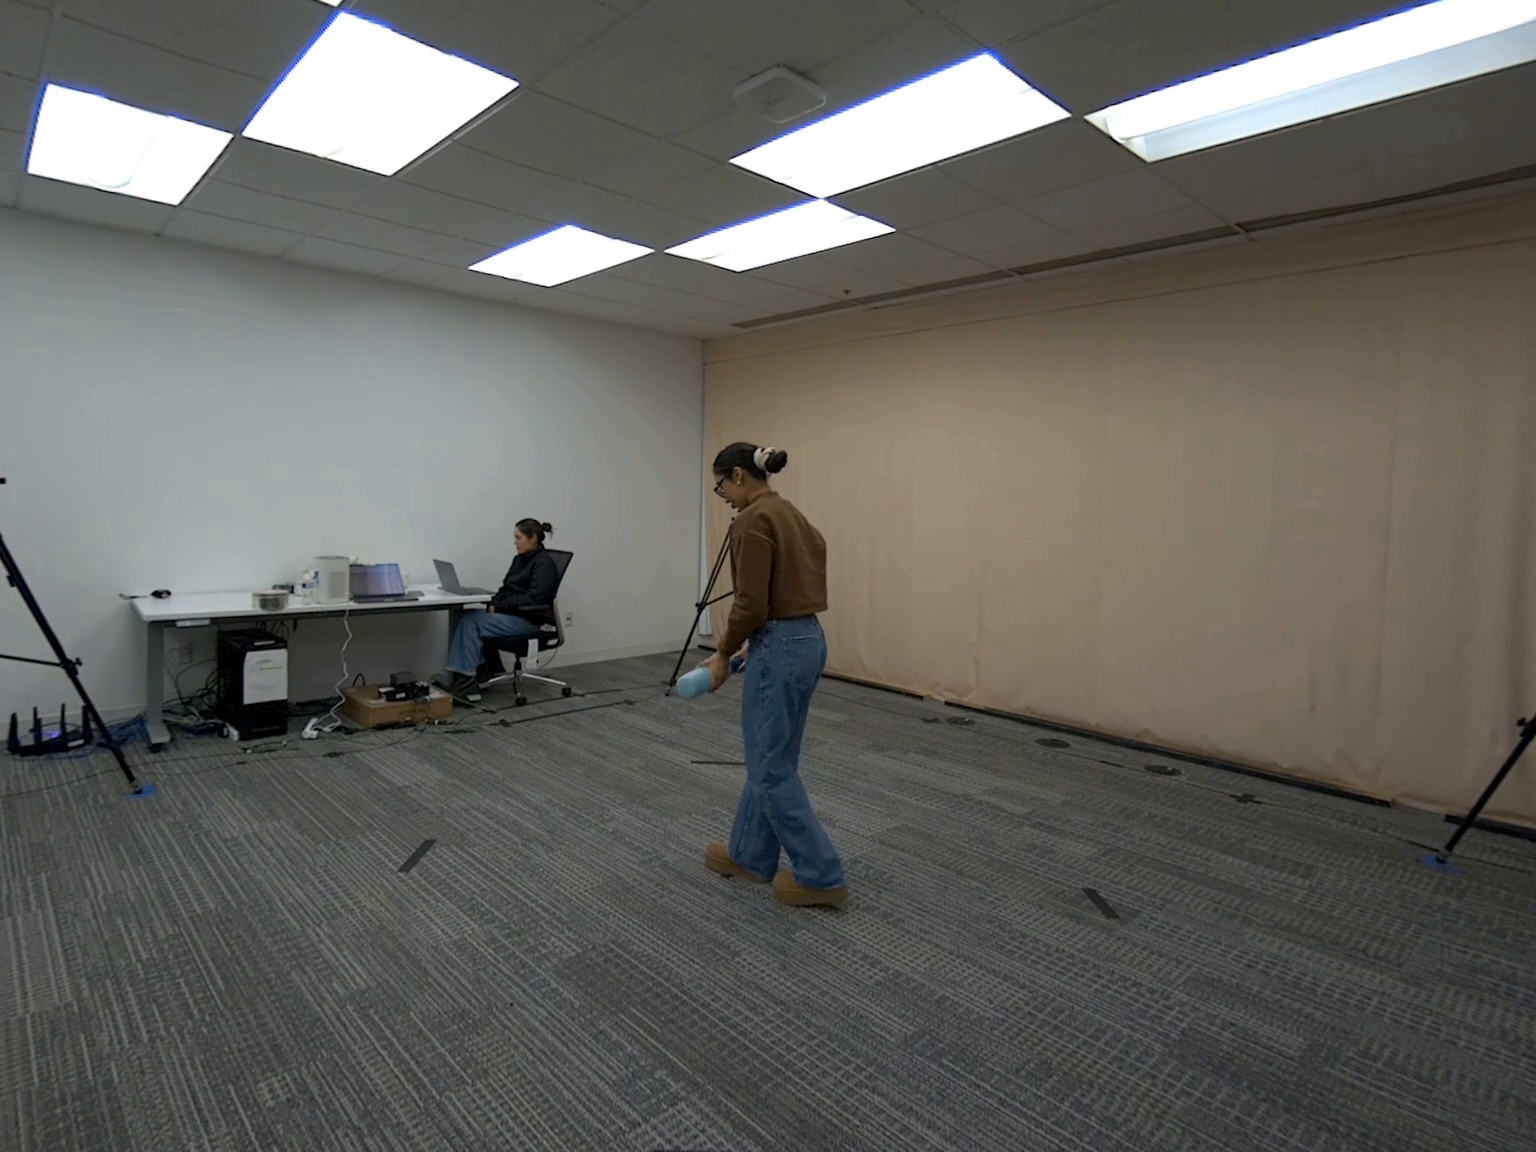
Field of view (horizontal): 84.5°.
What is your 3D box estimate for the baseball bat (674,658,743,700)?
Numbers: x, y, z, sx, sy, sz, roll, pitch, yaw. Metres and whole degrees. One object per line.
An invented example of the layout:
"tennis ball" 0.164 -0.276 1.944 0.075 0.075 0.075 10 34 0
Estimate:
"baseball bat" -0.148 0.340 3.085 0.091 0.088 0.535 4 12 29
